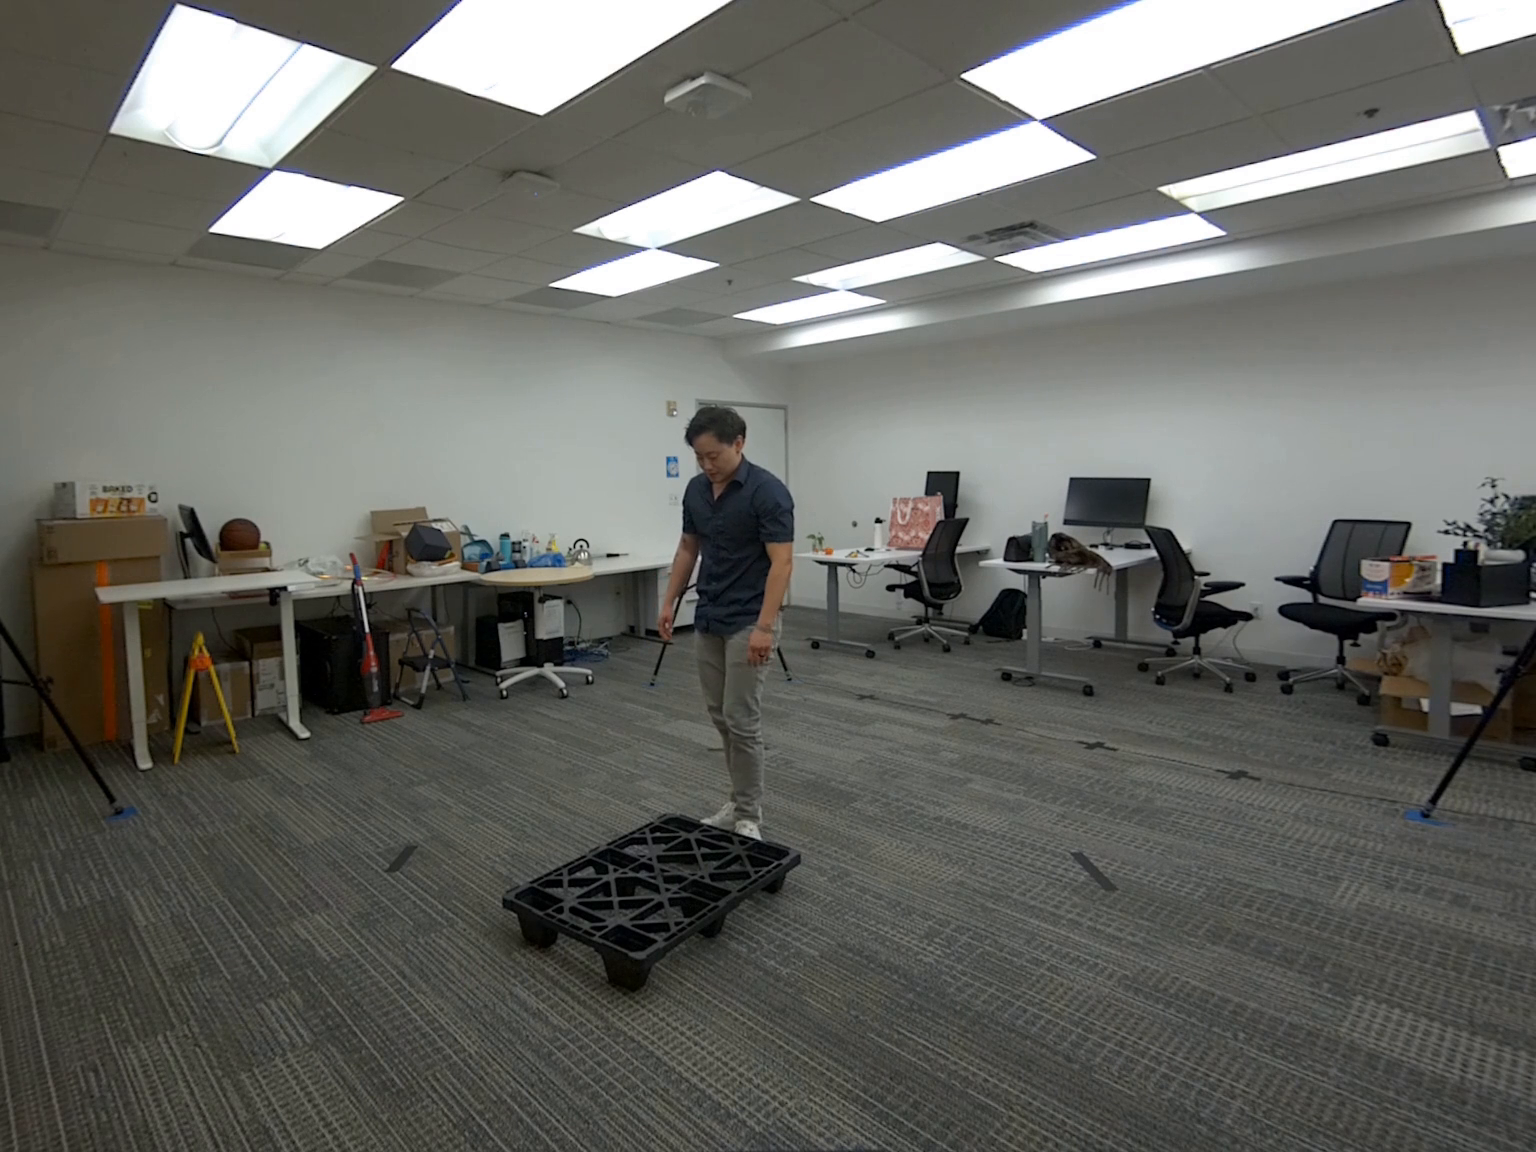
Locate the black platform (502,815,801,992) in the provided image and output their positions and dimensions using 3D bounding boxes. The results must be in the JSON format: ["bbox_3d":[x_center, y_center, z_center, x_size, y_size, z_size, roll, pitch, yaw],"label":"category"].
[{"bbox_3d":[-0.352,1.024,2.760,0.623,0.143,0.786,3,8,36],"label":"black platform"}]
